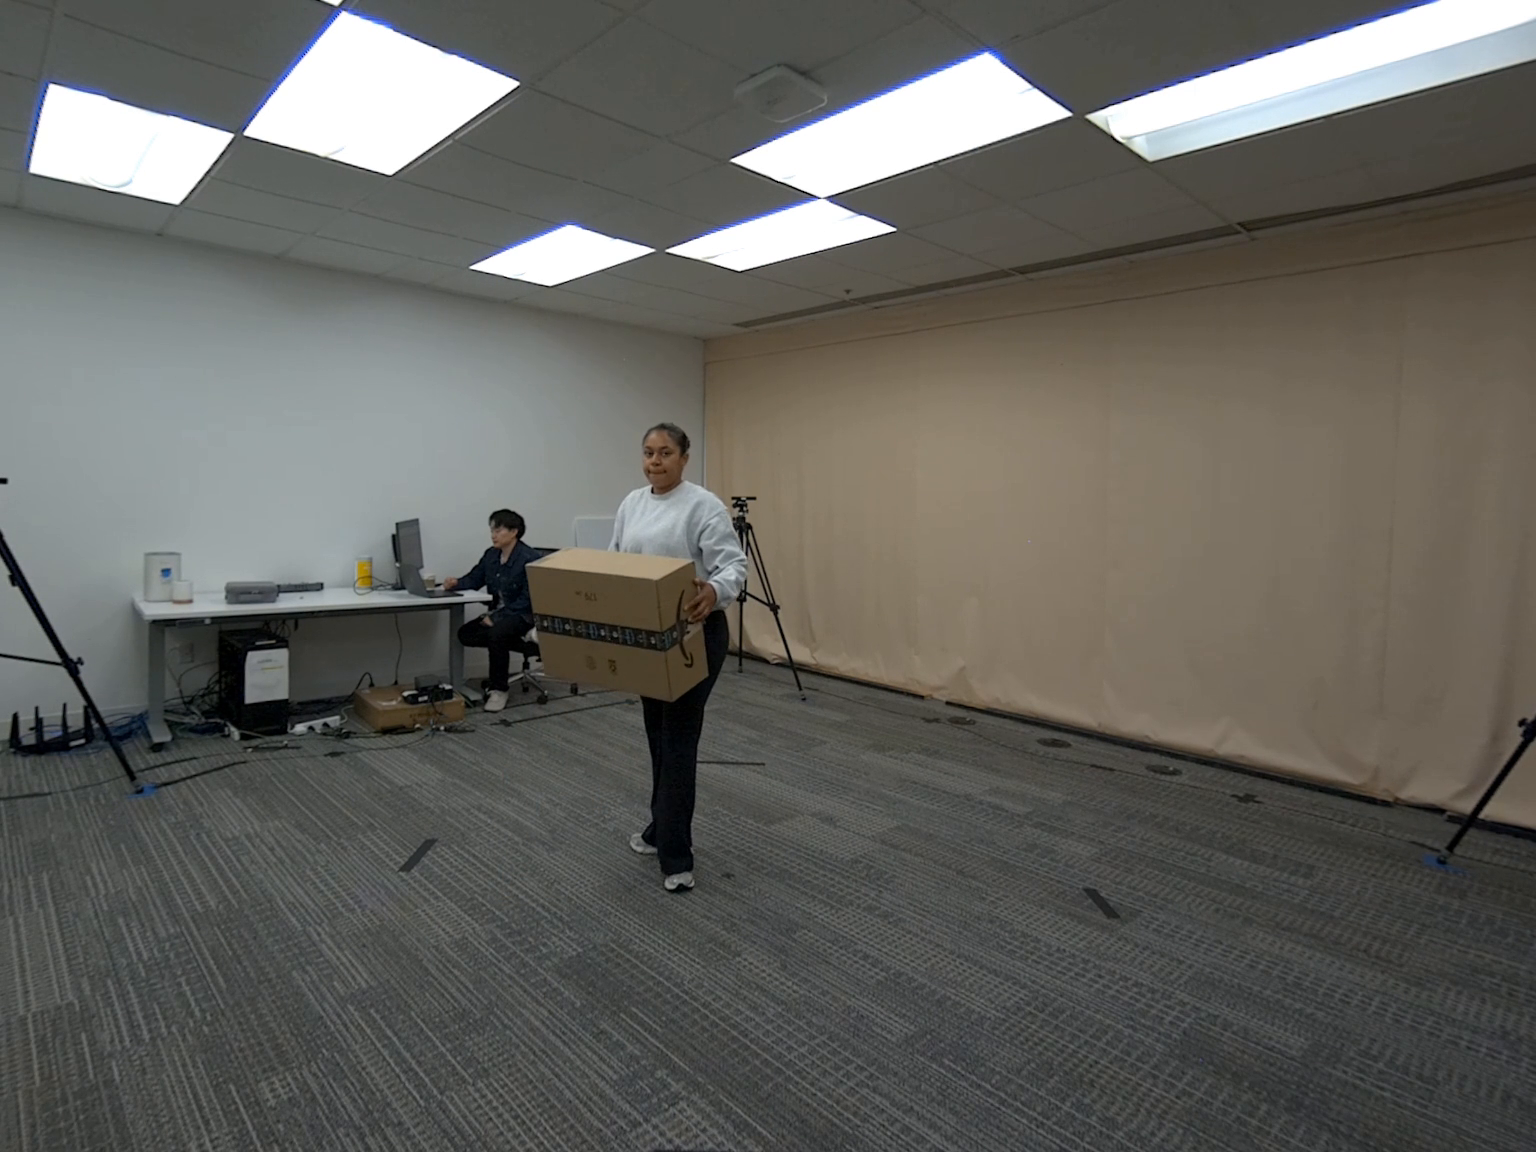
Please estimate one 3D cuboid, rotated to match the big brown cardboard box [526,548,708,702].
[{"bbox_3d":[-0.525,0.152,2.872,0.603,0.412,0.230,7,19,33],"label":"big brown cardboard box"}]
